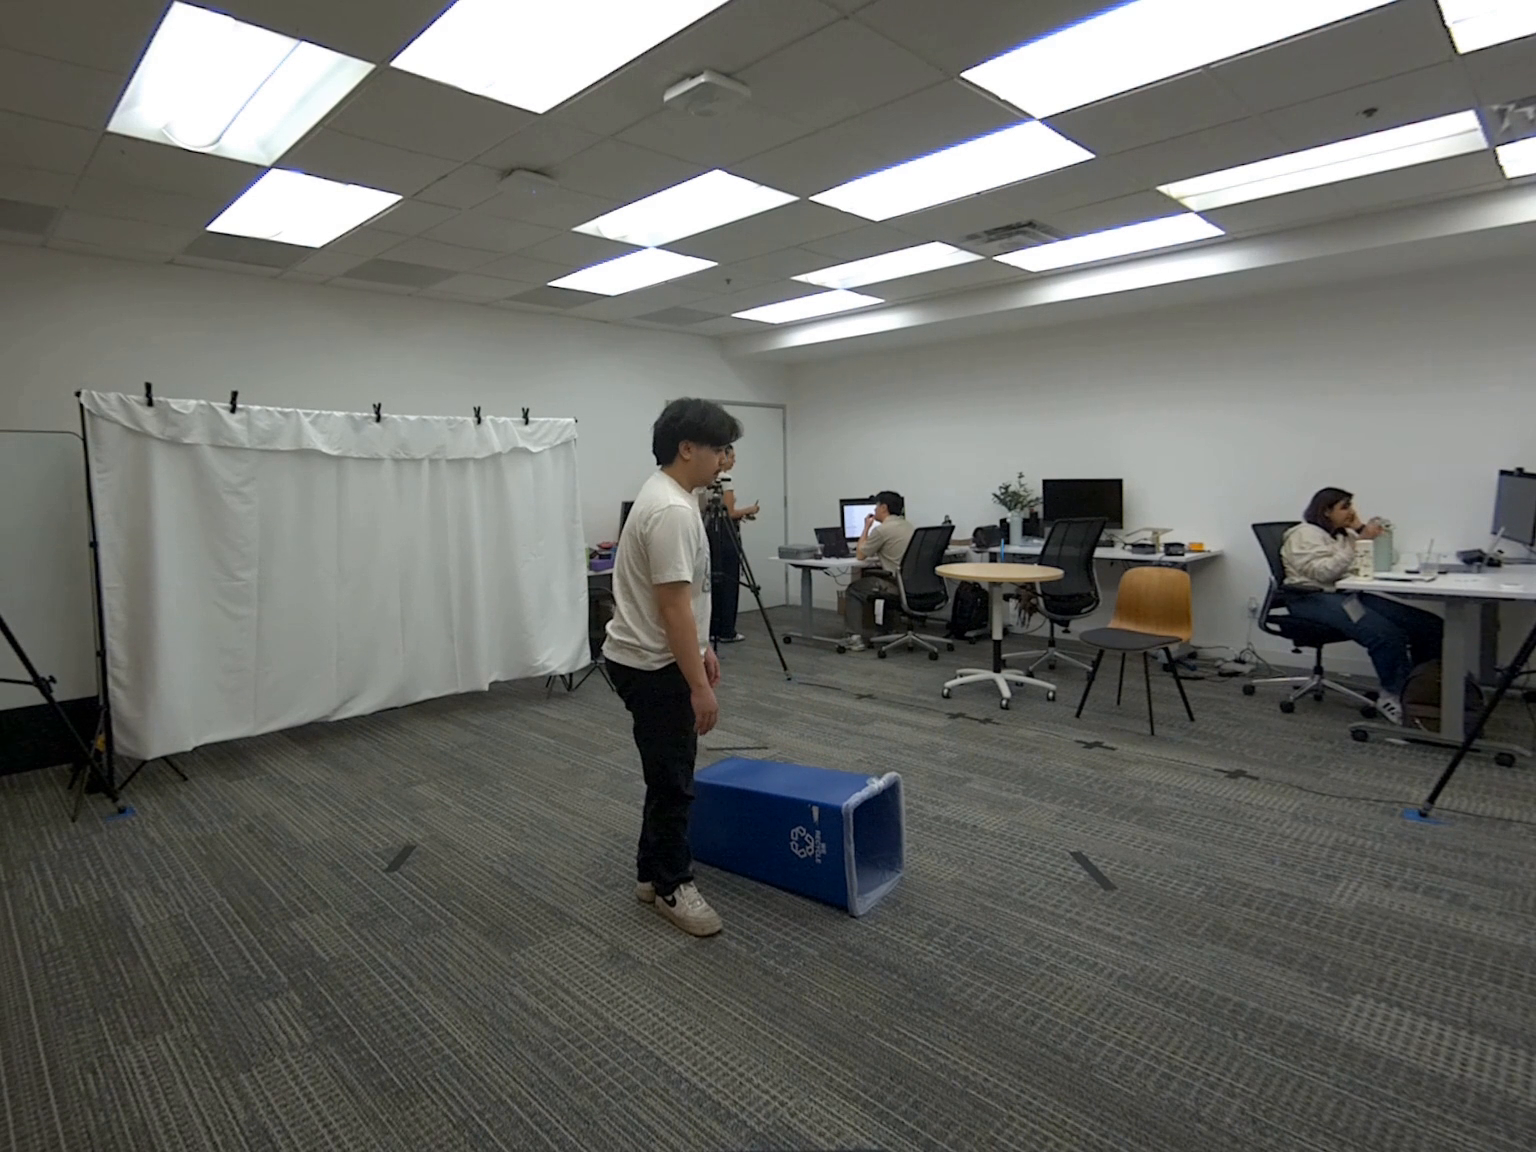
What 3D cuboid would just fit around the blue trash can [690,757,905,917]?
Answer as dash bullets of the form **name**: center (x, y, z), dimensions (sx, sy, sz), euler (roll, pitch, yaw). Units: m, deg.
- **blue trash can**: center (0.082, 0.883, 3.051), dimensions (0.733, 0.373, 0.369), euler (0, 5, 36)
